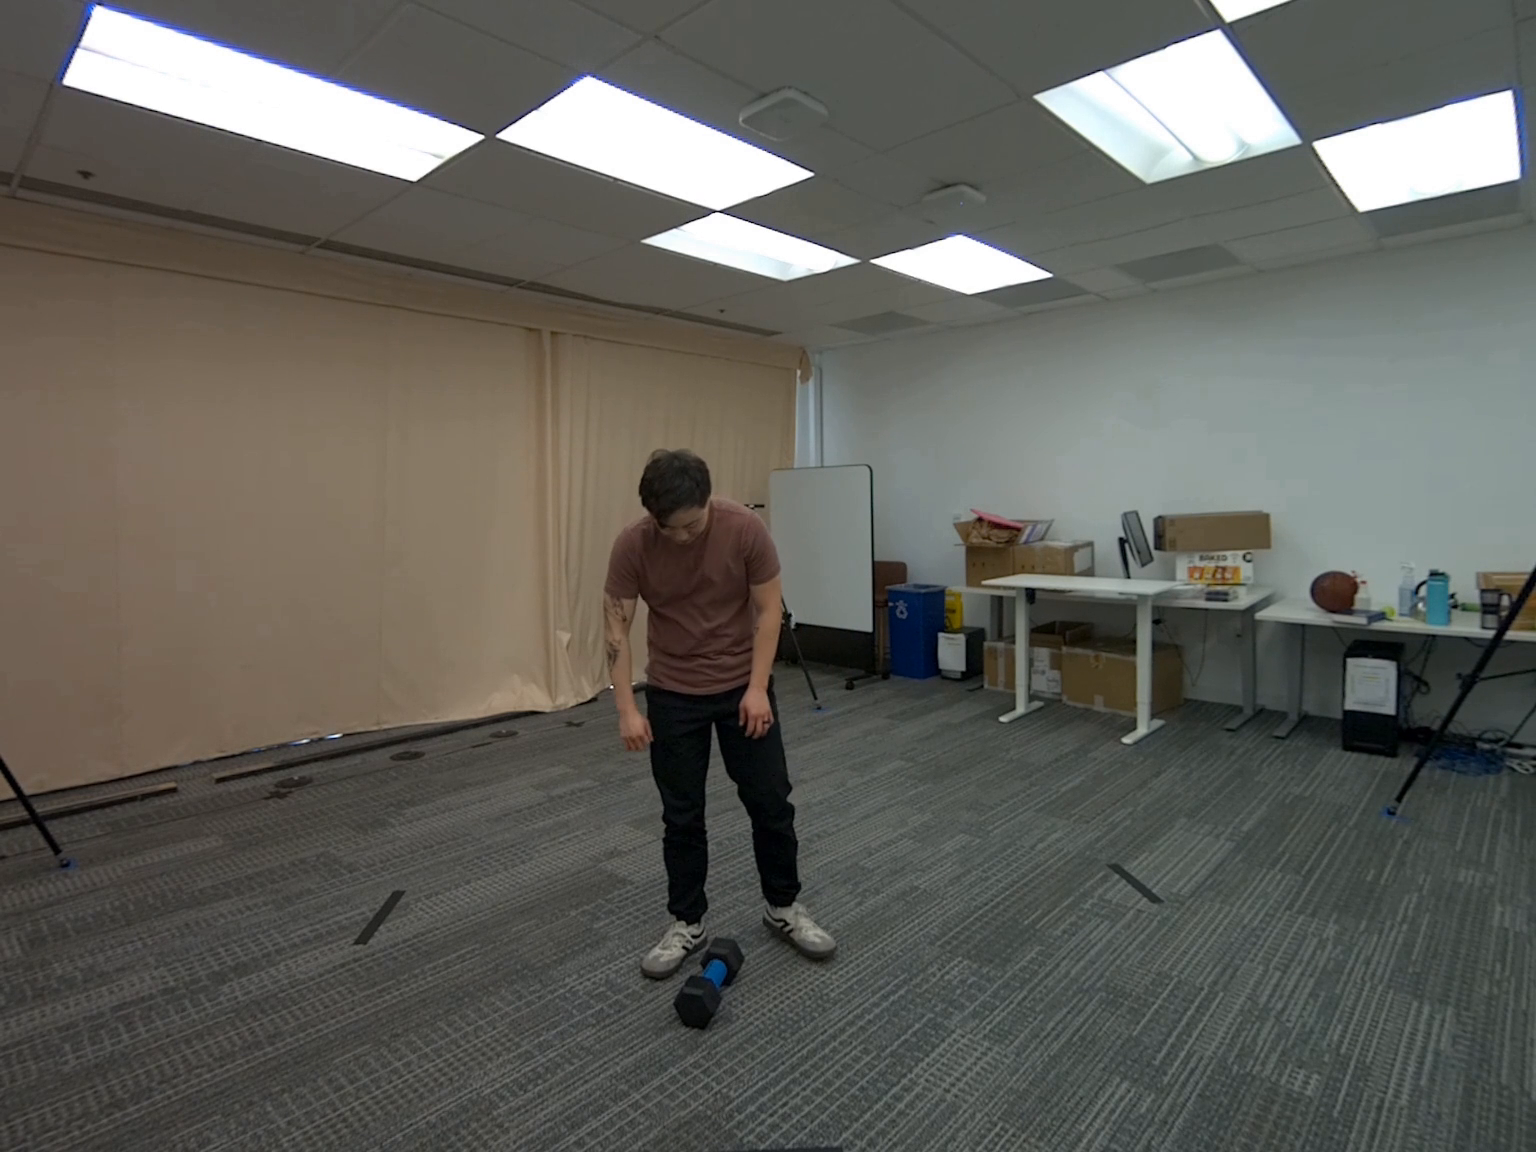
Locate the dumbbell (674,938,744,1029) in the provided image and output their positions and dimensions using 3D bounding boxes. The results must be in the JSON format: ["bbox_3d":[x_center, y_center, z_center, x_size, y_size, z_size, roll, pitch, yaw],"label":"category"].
[{"bbox_3d":[-0.154,1.143,2.369,0.110,0.124,0.289,-31,-5,16],"label":"dumbbell"}]
